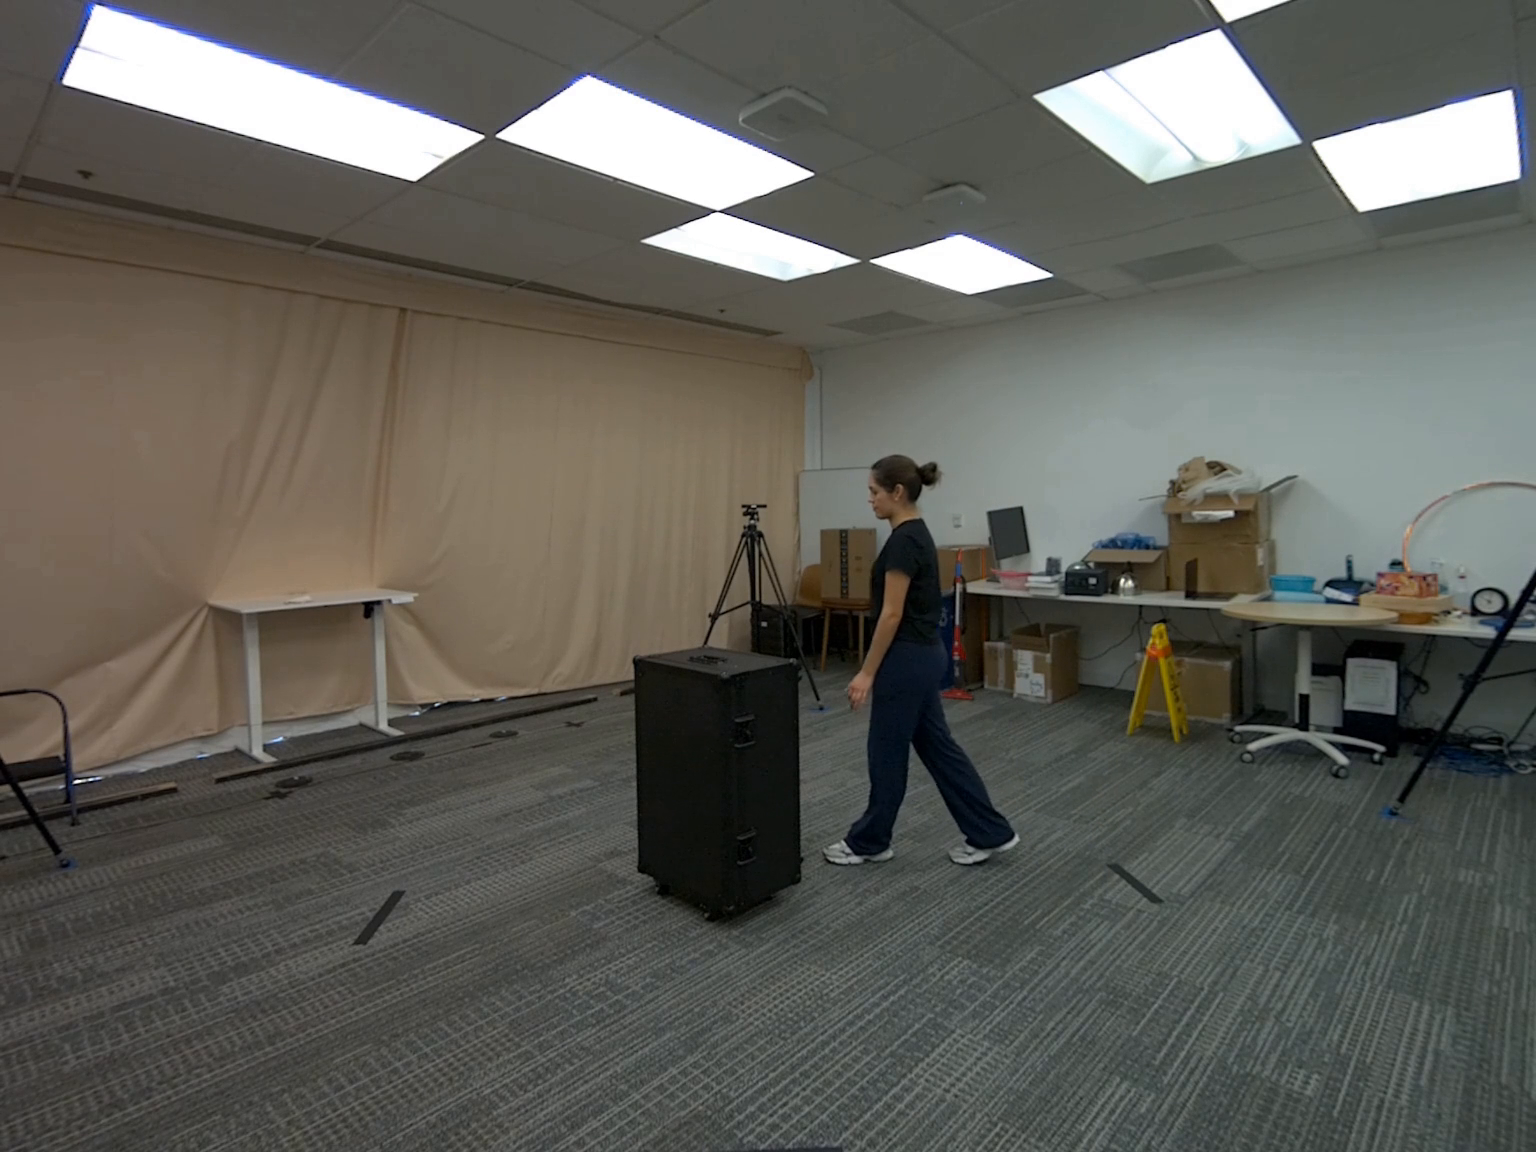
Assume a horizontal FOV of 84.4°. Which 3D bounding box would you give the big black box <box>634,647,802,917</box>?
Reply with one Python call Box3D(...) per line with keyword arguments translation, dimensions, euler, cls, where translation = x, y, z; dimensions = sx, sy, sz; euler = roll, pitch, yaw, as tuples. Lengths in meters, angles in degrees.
Box3D(translation=(-0.166, 0.718, 2.995), dimensions=(0.538, 0.860, 0.384), euler=(2, 4, 45), cls="big black box")
